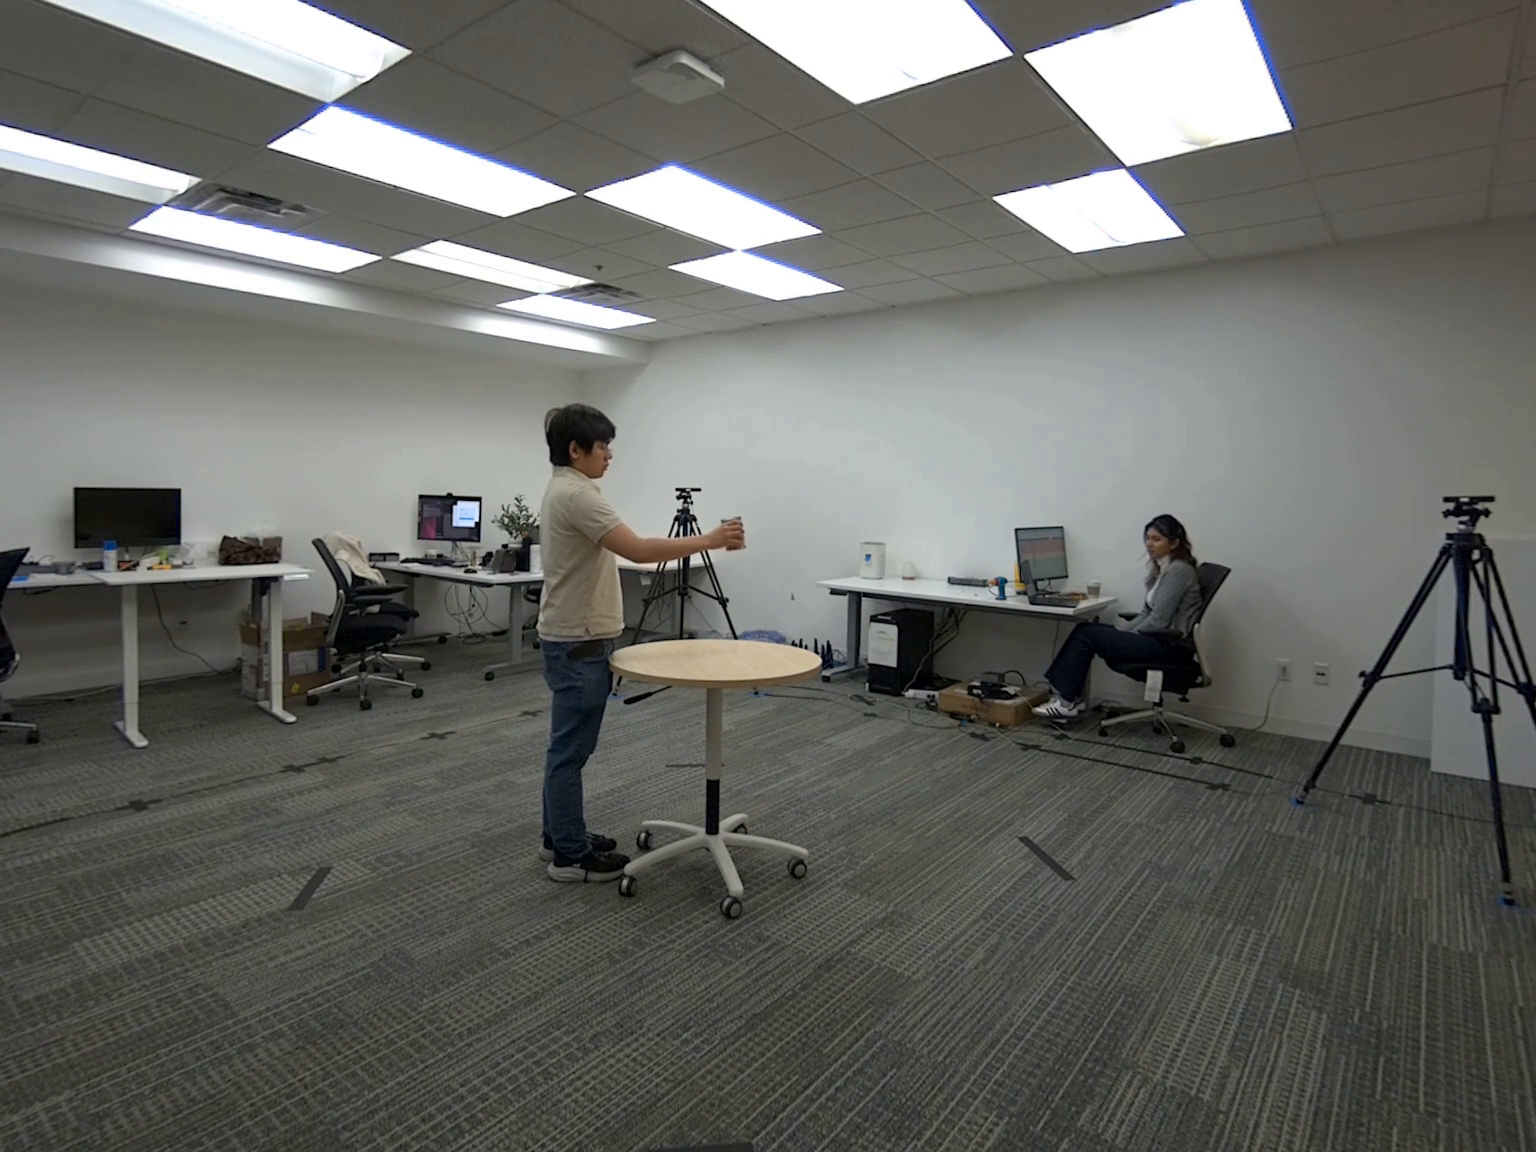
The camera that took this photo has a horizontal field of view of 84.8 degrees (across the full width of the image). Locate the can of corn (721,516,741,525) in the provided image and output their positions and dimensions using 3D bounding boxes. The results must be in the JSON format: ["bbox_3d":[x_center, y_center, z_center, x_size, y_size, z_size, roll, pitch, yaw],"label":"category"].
[{"bbox_3d":[-0.128,-0.145,3.013,0.074,0.110,0.075,-6,8,-1],"label":"can of corn"}]
